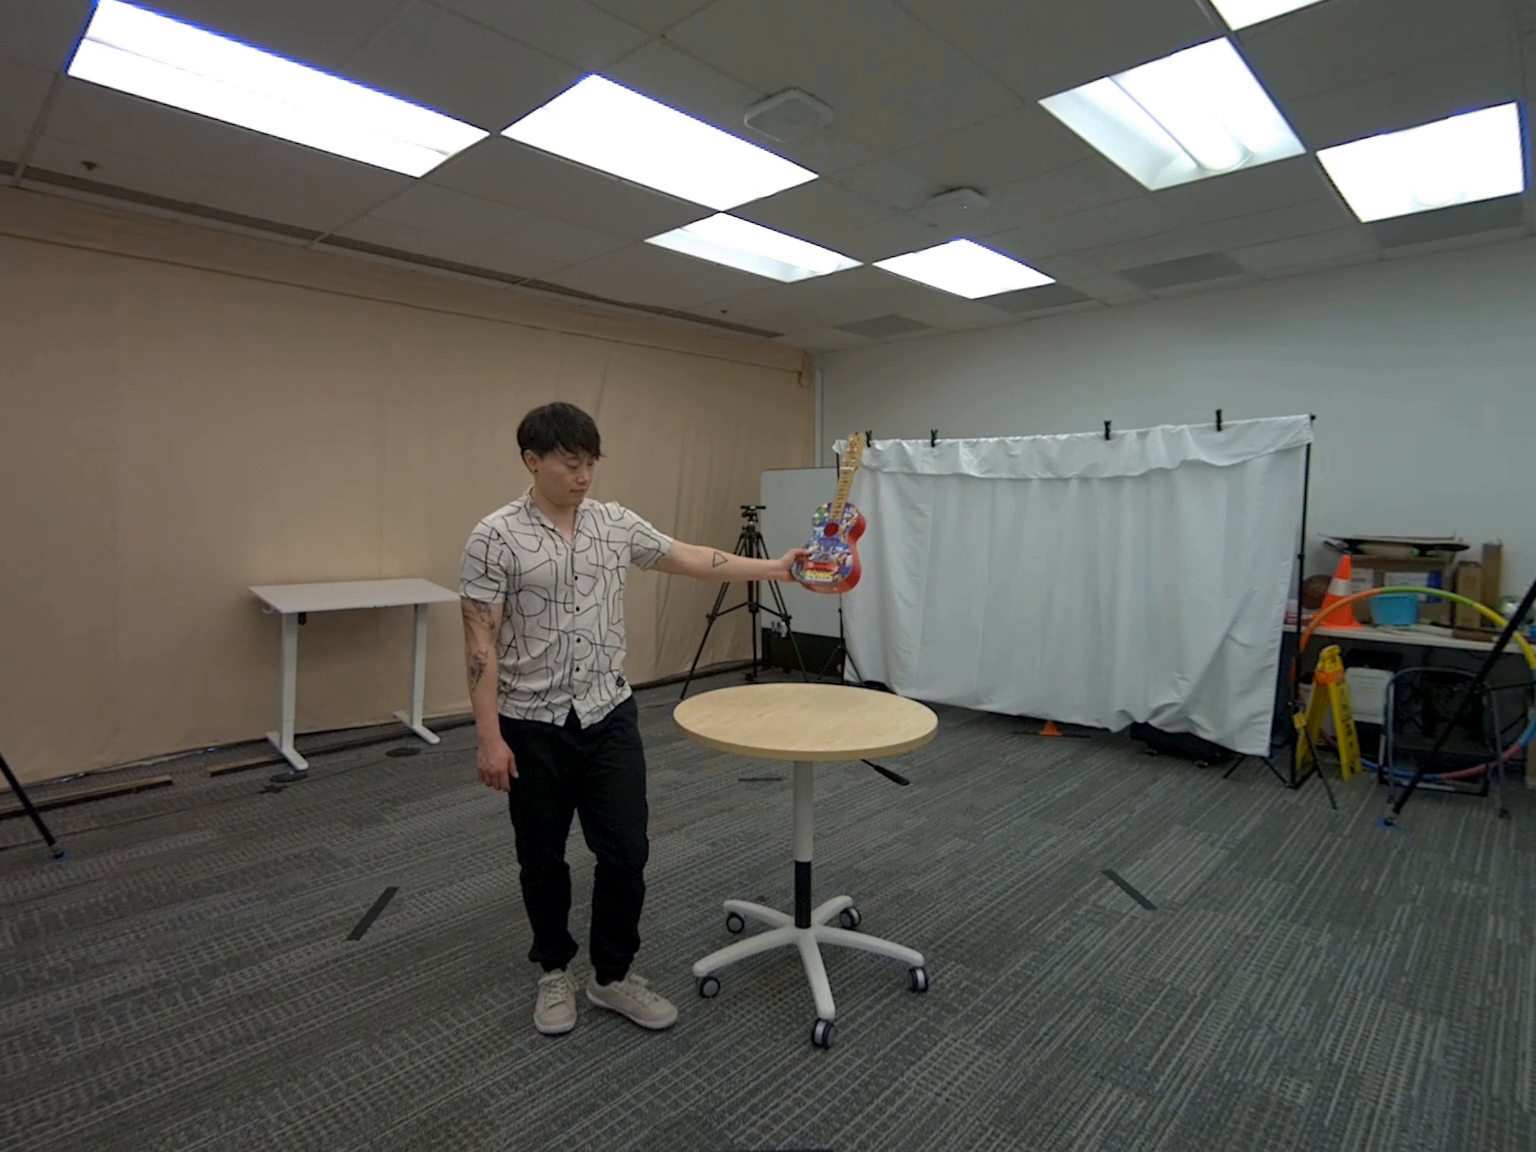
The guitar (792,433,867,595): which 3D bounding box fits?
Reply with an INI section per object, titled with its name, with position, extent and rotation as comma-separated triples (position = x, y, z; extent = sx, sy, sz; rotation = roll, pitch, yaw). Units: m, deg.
[guitar]
position = 0.249, -0.181, 2.432
extent = 0.199, 0.499, 0.068
rotation = 12, -18, 36
